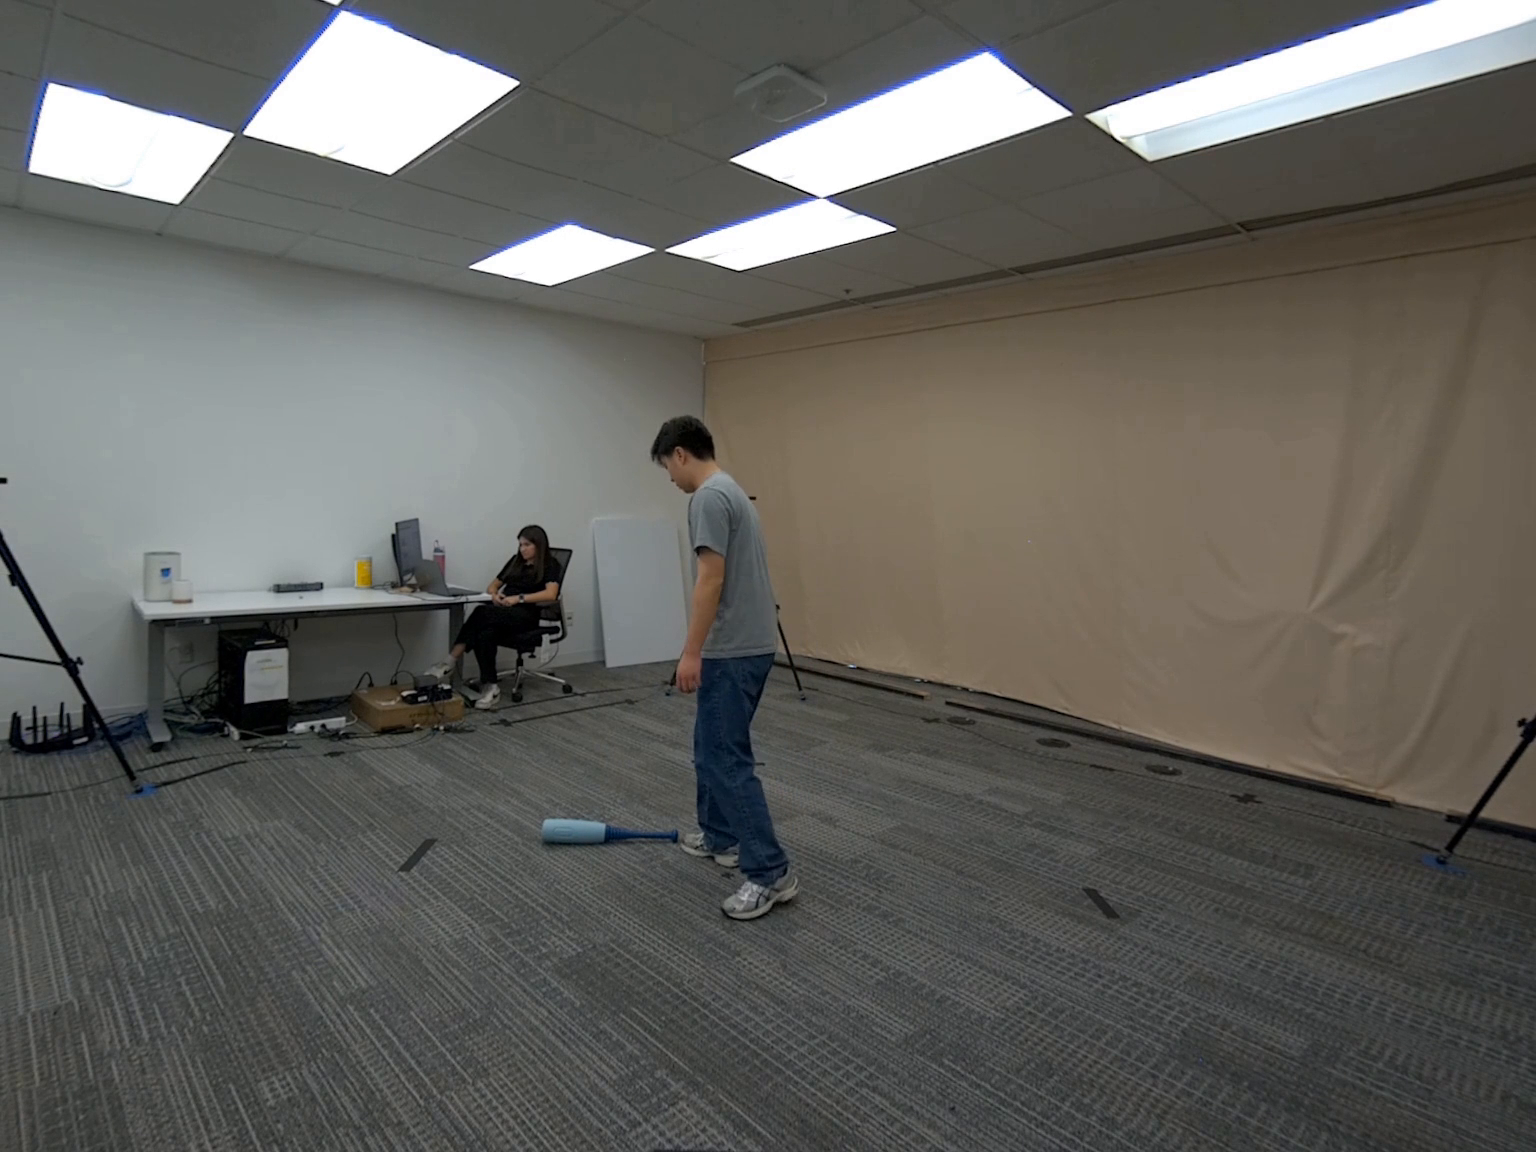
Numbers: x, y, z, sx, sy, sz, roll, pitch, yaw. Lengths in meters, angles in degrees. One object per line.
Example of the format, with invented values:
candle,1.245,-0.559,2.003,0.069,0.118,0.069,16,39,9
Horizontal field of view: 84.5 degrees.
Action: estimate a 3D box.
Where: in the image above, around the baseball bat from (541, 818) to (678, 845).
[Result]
baseball bat,-0.638,1.032,3.374,0.541,0.089,0.089,4,4,-4
